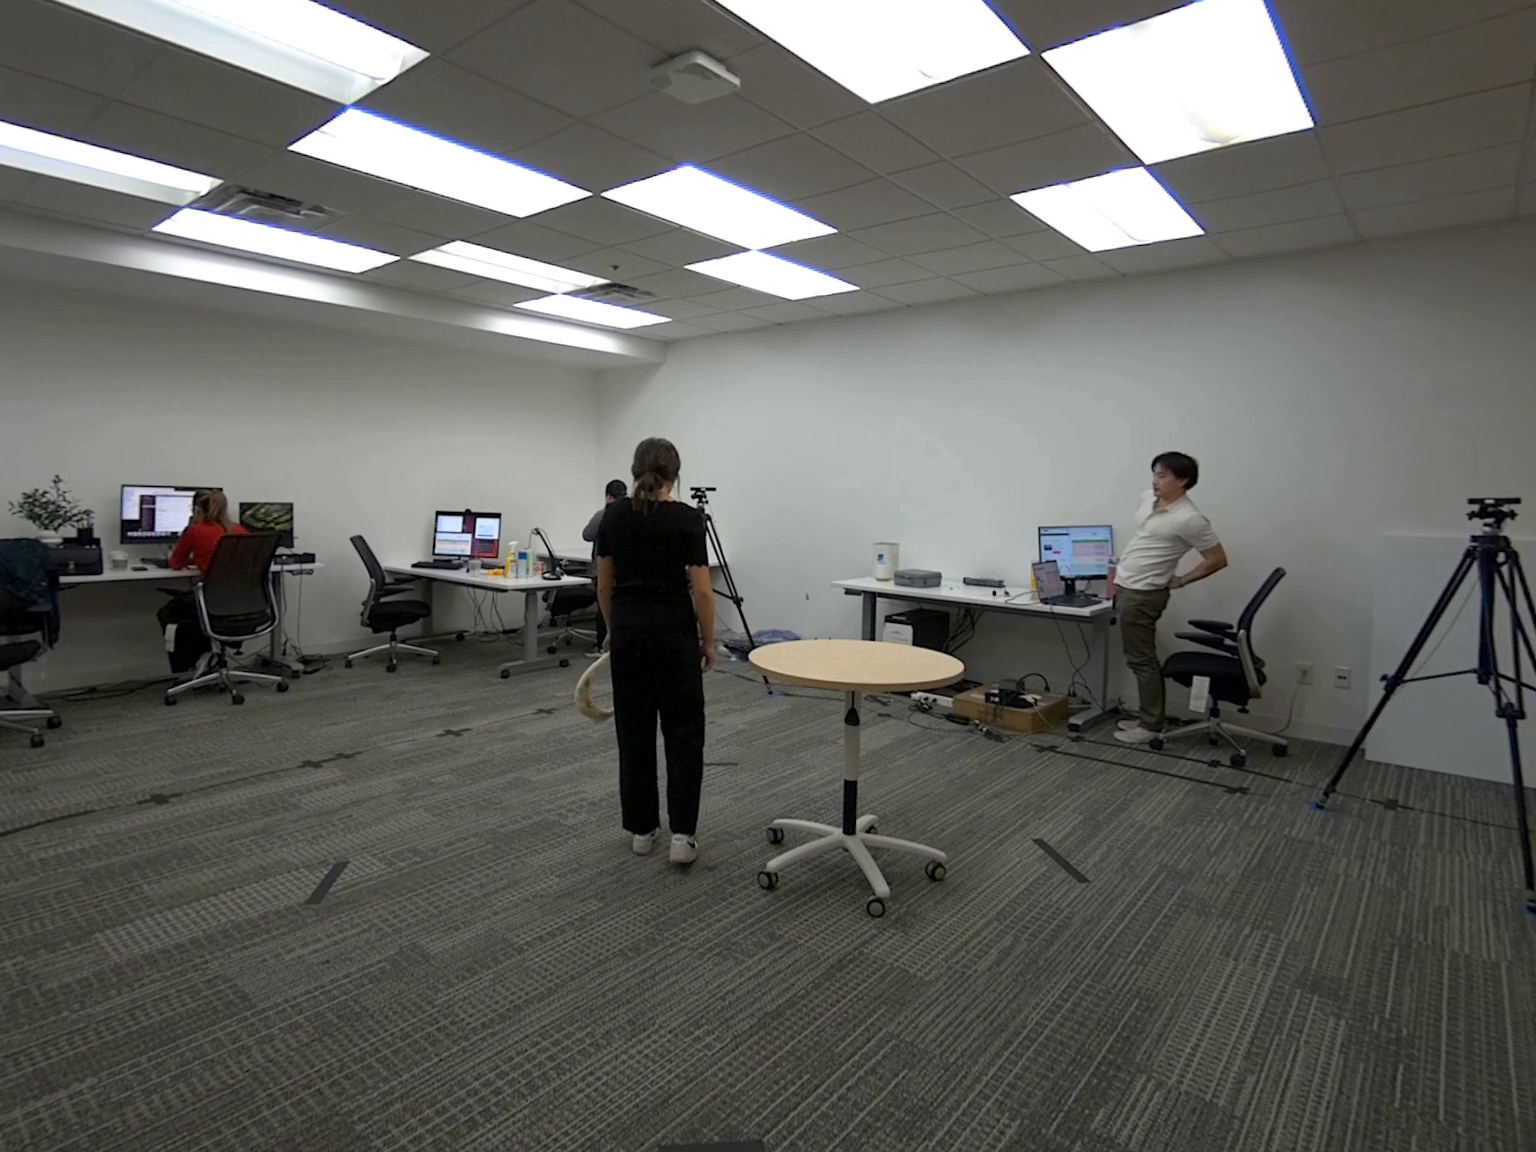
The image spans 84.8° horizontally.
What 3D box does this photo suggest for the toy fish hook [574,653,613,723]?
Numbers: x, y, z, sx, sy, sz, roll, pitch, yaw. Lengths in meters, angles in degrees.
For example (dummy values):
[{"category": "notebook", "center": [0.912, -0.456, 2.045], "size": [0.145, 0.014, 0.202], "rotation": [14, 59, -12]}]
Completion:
[{"category": "toy fish hook", "center": [-0.606, 0.366, 3.505], "size": [0.218, 0.509, 0.049], "rotation": [42, -27, -20]}]
